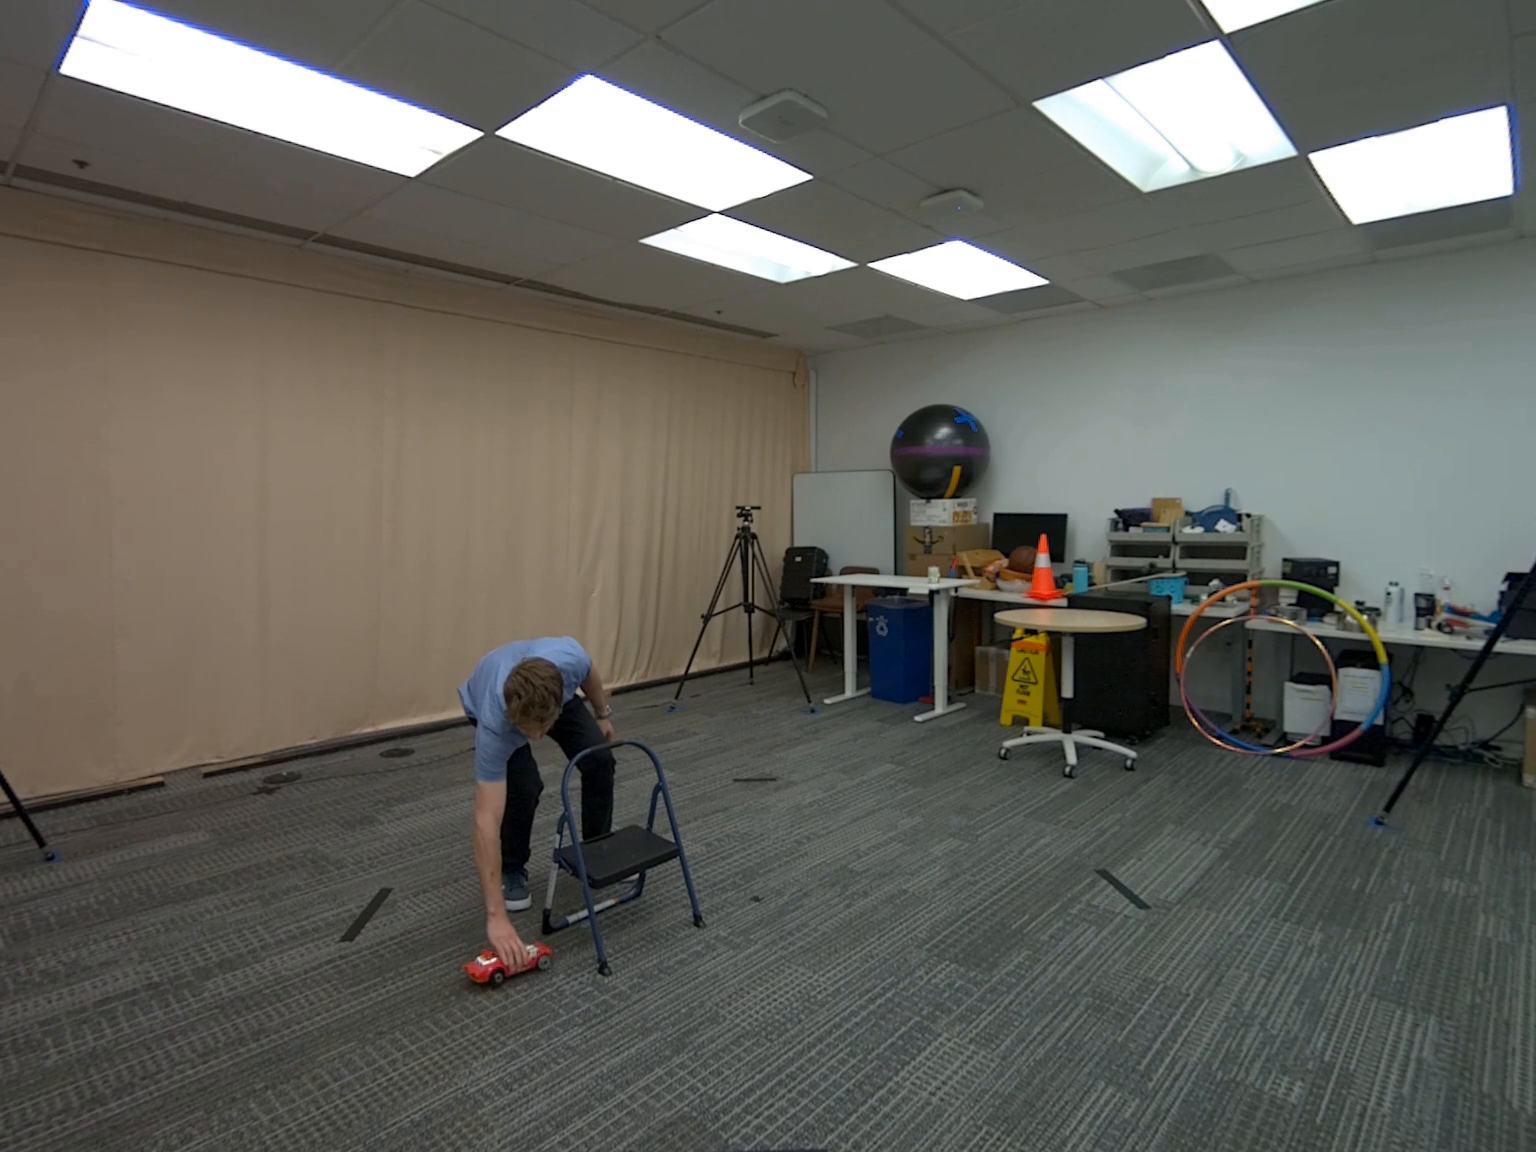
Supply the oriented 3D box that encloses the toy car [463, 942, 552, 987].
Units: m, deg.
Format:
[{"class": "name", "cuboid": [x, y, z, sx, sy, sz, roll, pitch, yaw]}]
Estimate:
[{"class": "toy car", "cuboid": [-0.790, 1.149, 2.507, 0.246, 0.083, 0.134, 11, -12, -37]}]
